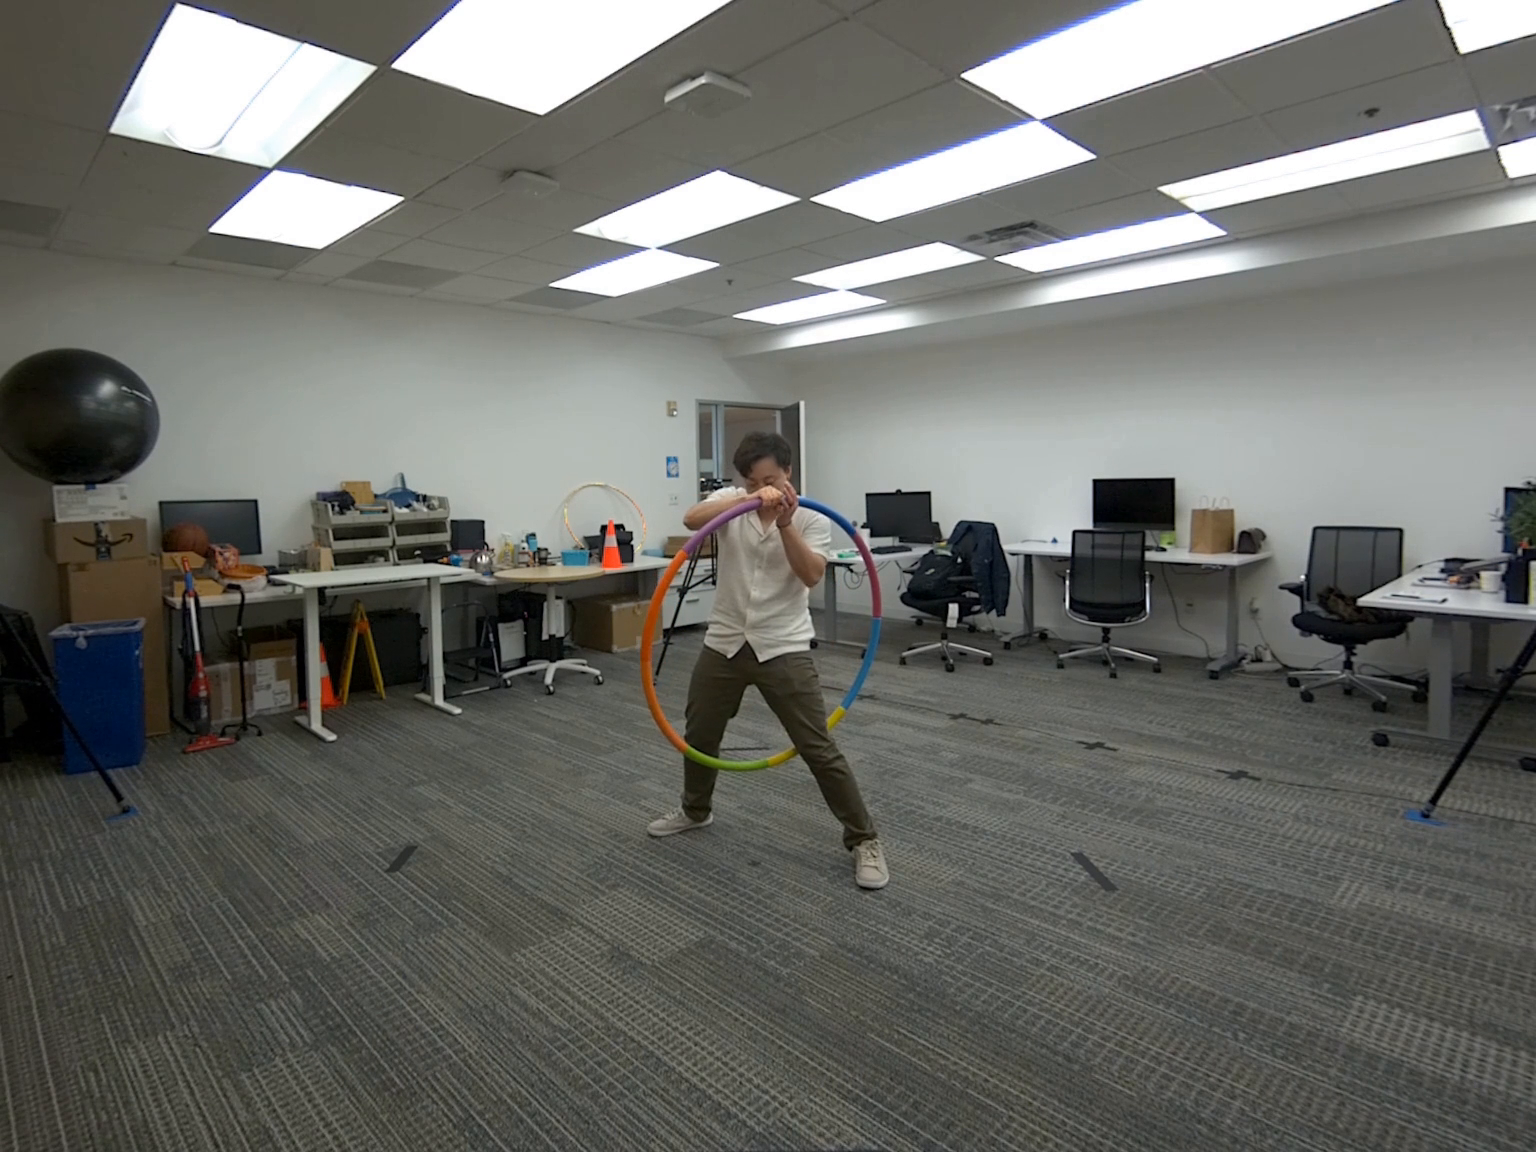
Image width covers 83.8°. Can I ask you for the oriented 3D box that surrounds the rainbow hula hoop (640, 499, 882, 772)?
[{"bbox_3d":[0.010,0.209,2.960,0.955,0.968,0.037,-4,15,-31],"label":"rainbow hula hoop"}]
